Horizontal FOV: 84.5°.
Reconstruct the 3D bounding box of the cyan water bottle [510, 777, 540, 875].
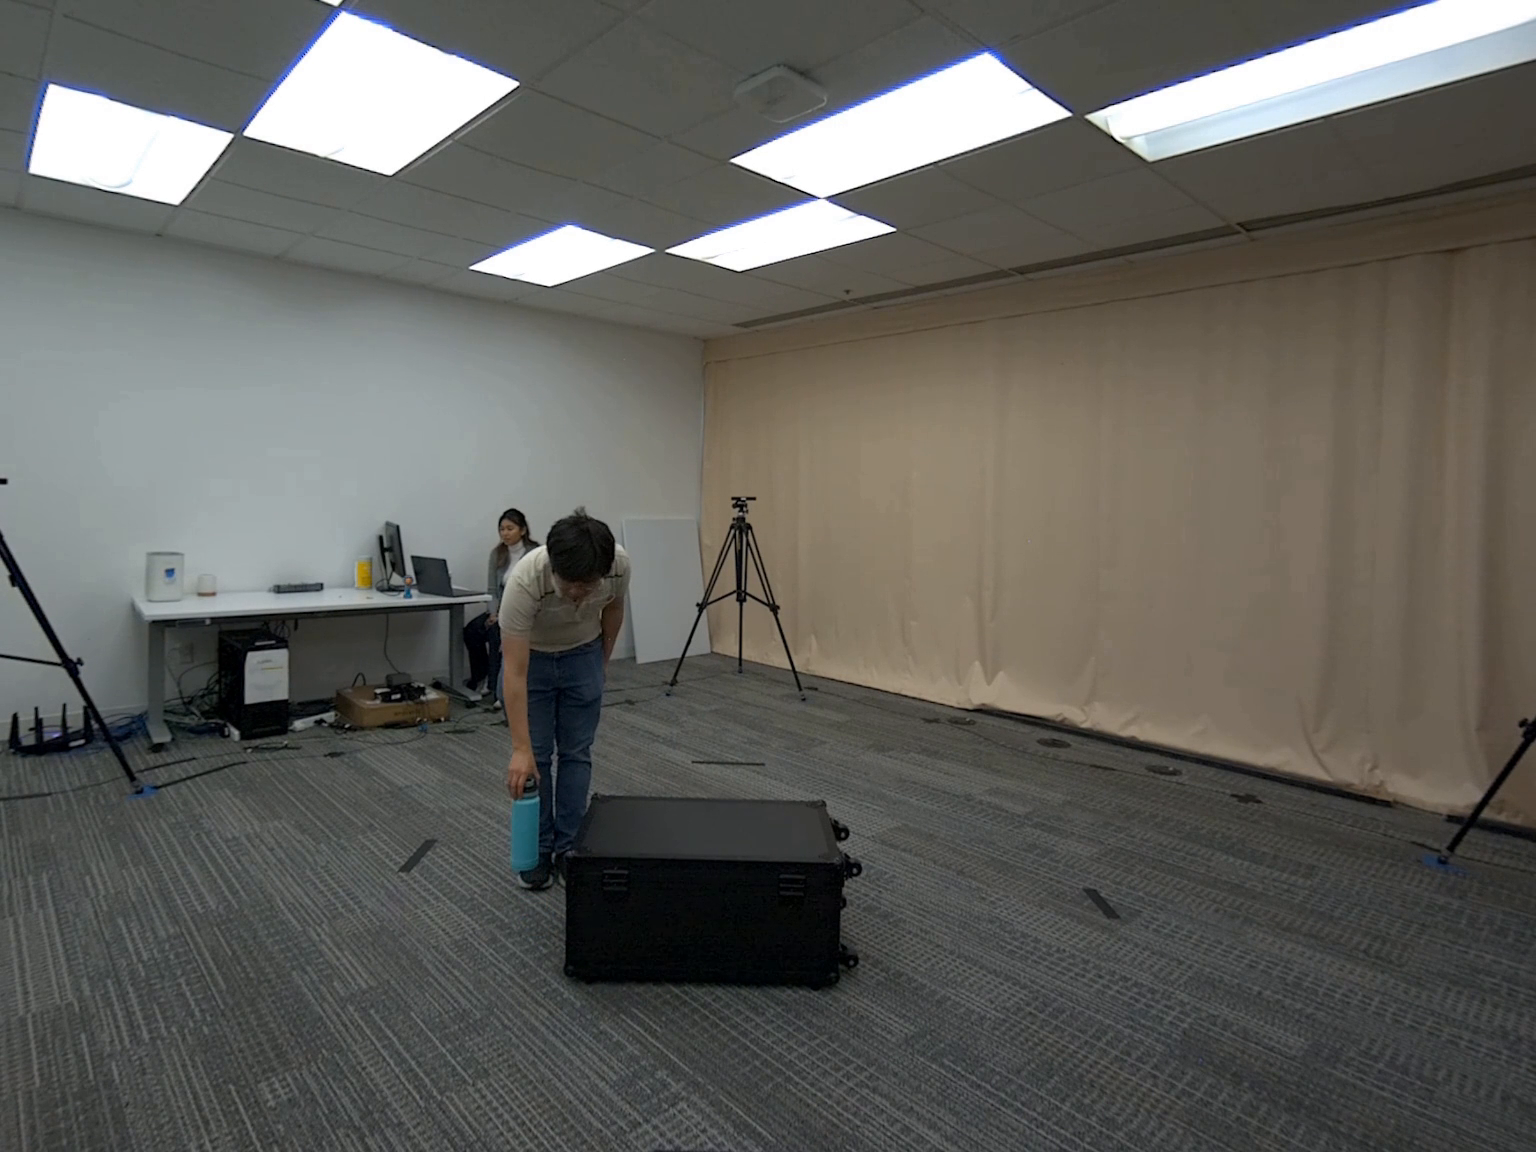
[{"bbox_3d":[-0.802,0.795,2.704,0.092,0.283,0.092,5,3,-2],"label":"cyan water bottle"}]
